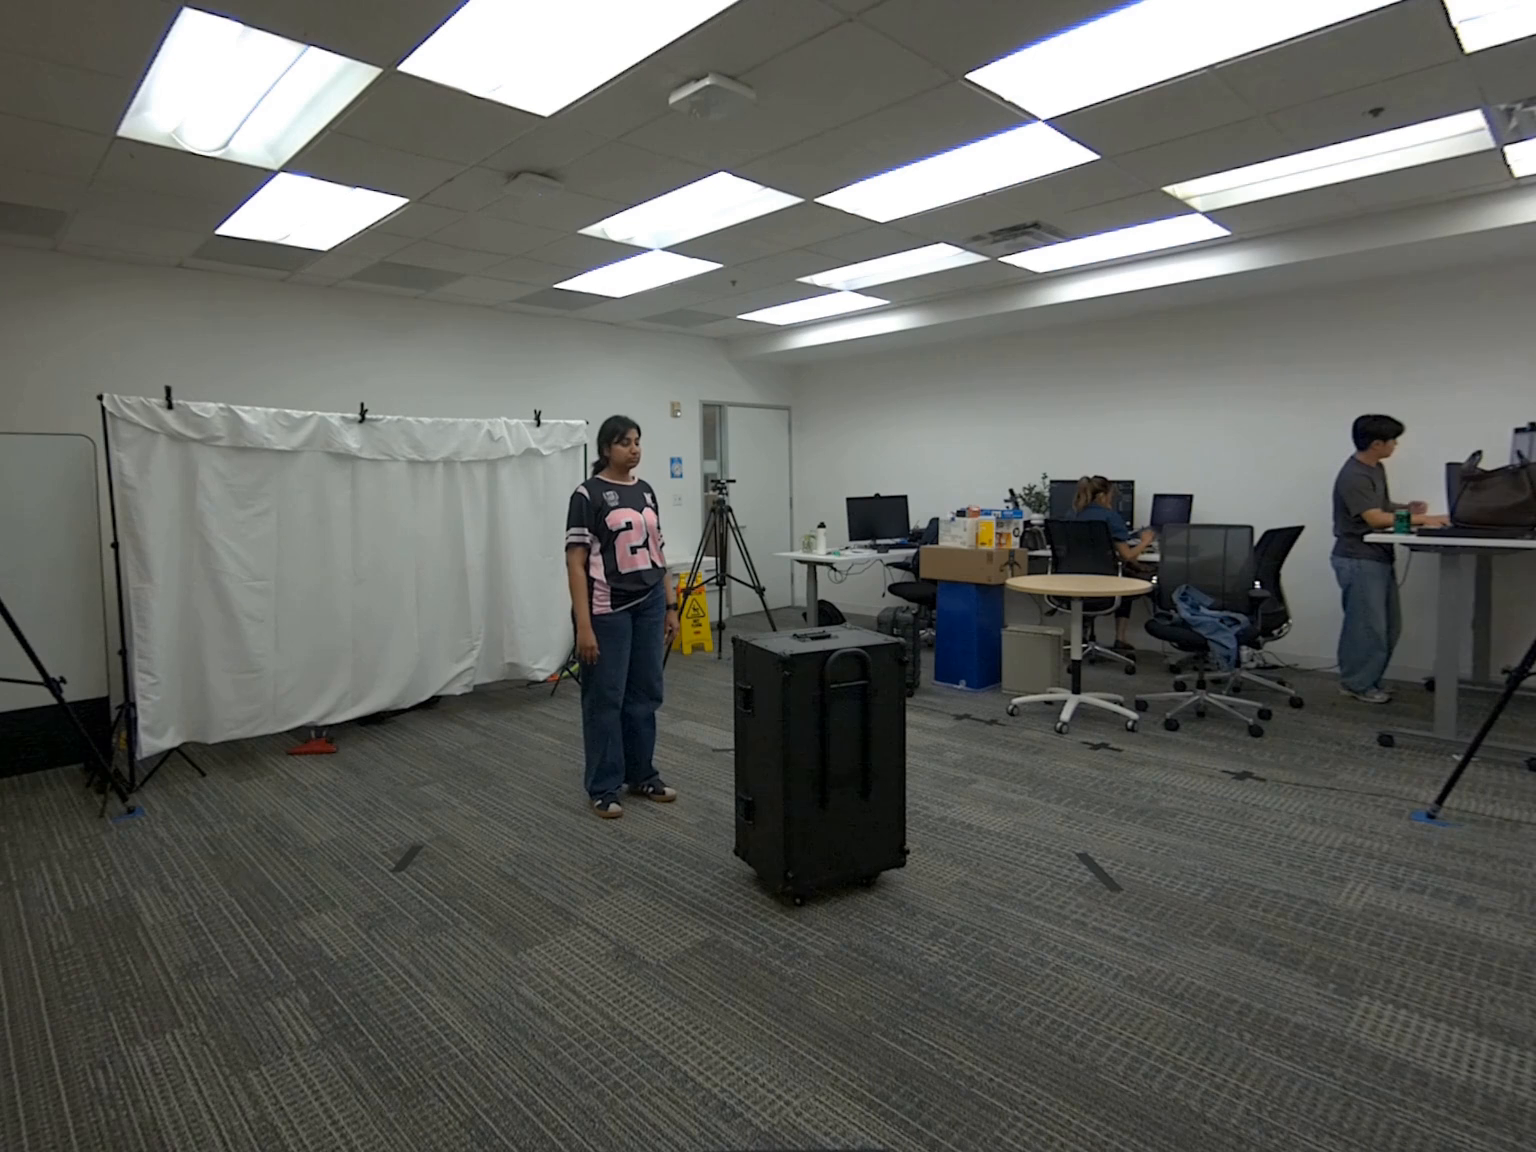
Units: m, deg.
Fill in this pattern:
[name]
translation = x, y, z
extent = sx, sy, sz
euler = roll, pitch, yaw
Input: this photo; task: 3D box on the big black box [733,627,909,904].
[big black box]
translation = 0.184, 0.639, 2.950
extent = 0.512, 0.865, 0.395
euler = -3, 5, -27
